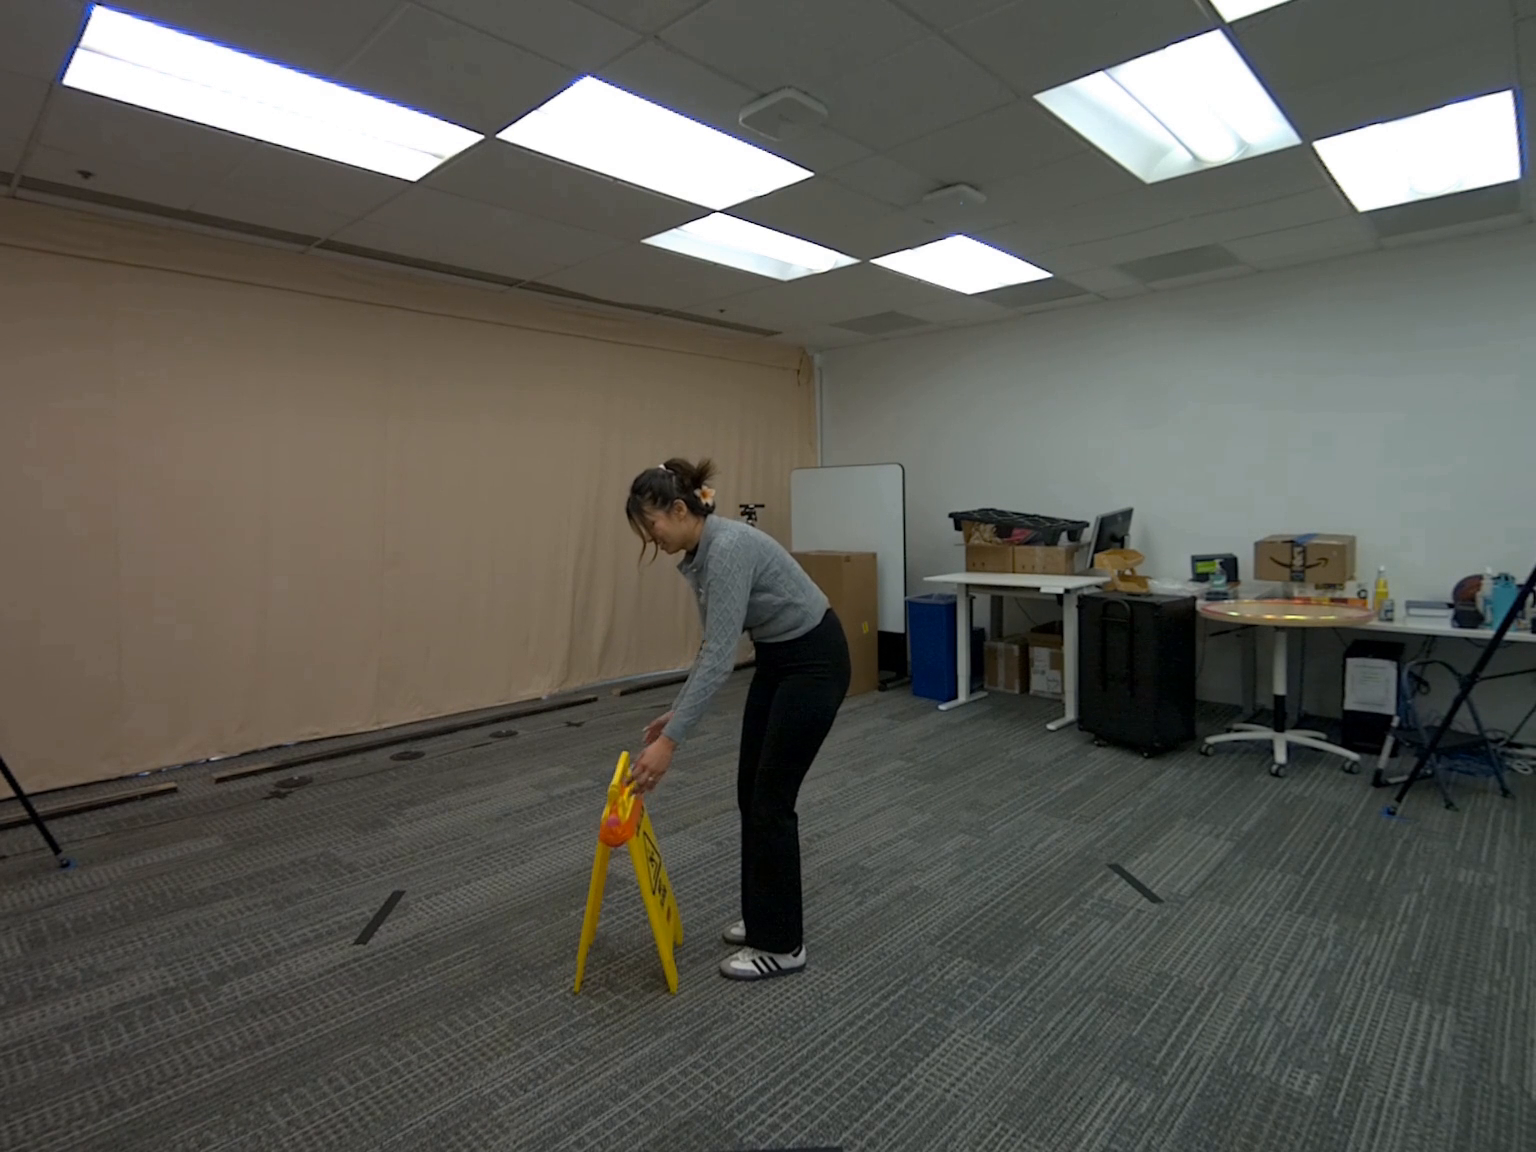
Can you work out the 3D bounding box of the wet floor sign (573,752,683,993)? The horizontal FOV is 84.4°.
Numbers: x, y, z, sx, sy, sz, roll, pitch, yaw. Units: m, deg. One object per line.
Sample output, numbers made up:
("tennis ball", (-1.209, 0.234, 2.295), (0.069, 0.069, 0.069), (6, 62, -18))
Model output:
("wet floor sign", (-0.415, 0.853, 2.487), (0.290, 0.641, 0.284), (-1, 12, 2))
